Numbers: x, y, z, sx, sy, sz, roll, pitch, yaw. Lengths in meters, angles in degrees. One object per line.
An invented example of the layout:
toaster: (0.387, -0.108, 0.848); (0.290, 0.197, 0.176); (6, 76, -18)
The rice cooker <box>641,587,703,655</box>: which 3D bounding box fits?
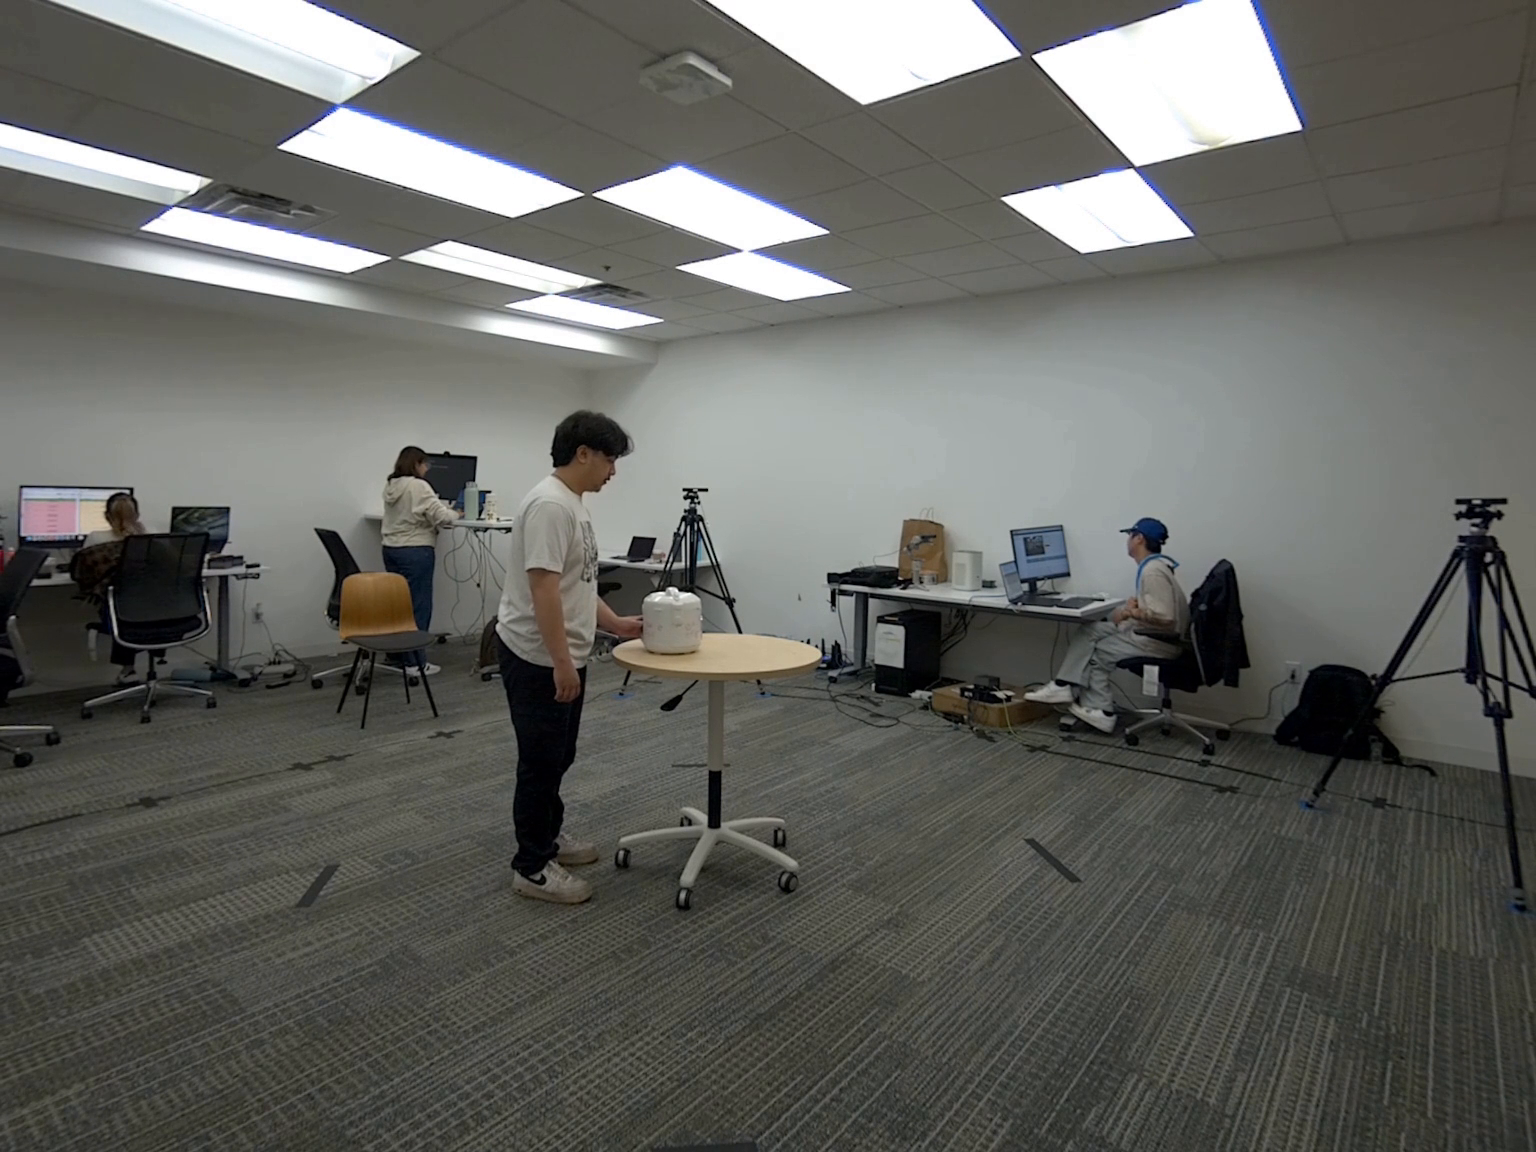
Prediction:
rice cooker: (-0.359, 0.158, 3.103); (0.214, 0.232, 0.225); (-1, 4, -15)
